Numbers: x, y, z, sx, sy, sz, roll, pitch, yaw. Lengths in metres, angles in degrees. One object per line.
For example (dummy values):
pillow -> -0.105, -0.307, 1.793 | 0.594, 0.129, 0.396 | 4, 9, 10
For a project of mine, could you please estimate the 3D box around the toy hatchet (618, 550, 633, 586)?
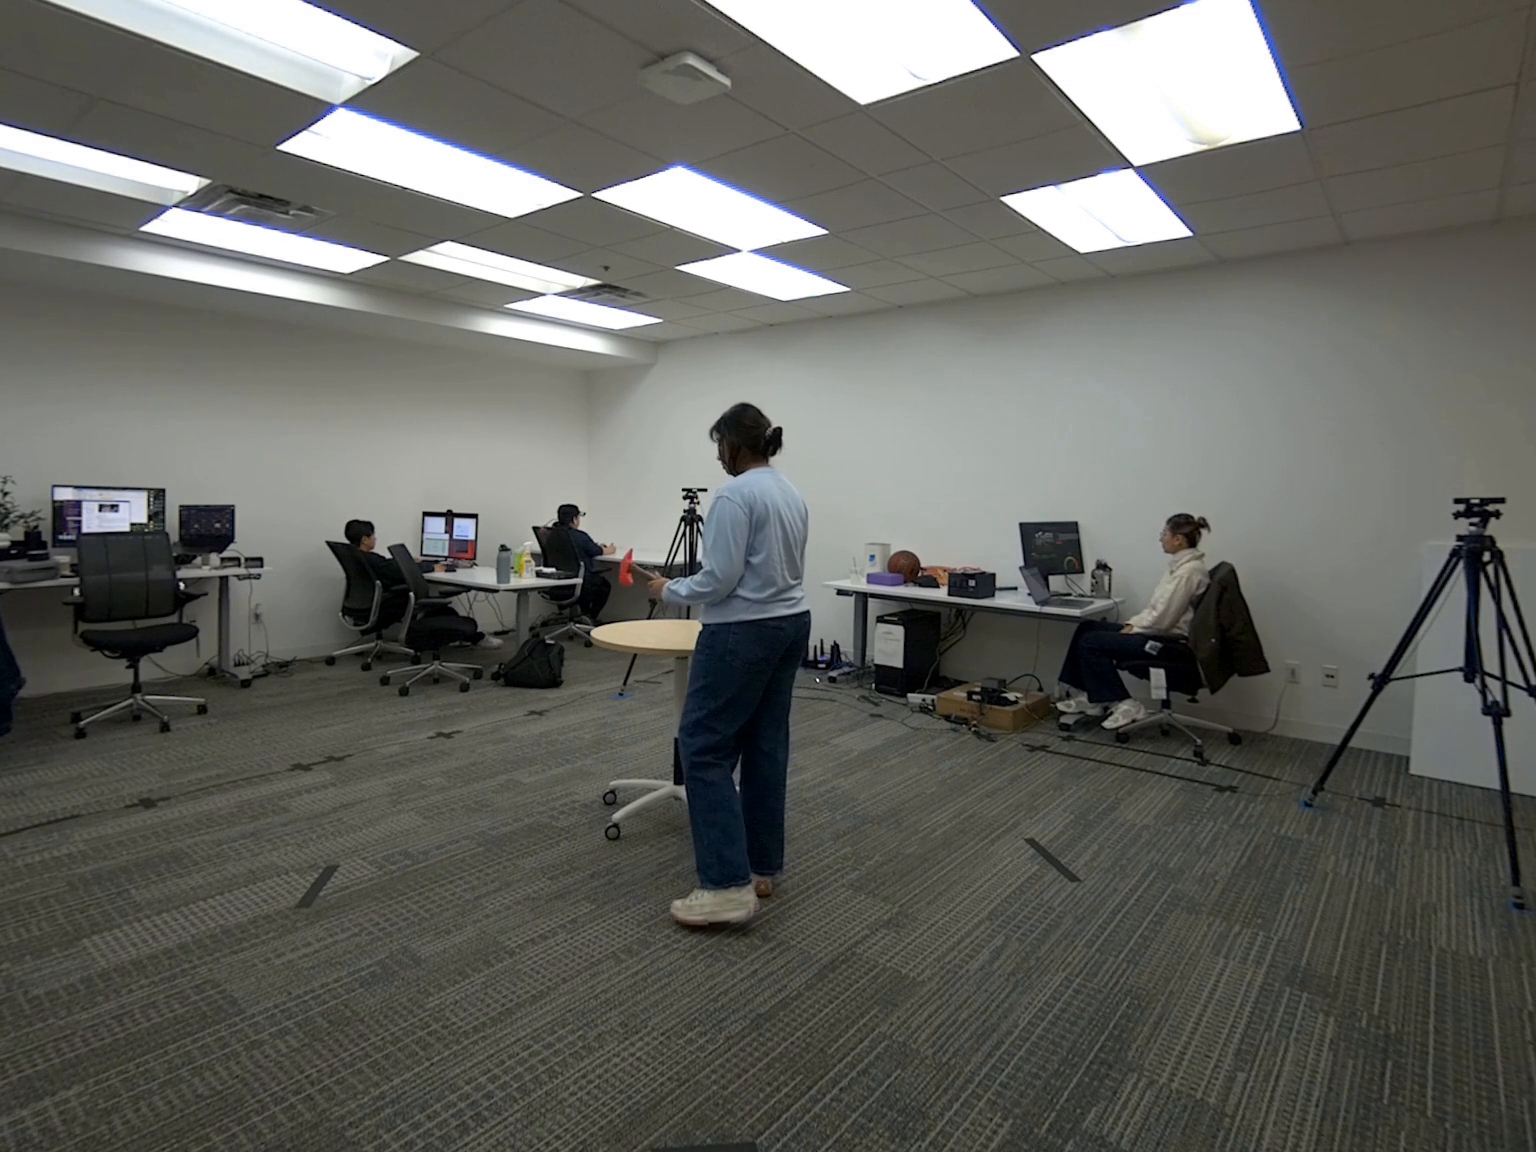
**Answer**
toy hatchet -> -0.463, 0.022, 3.085 | 0.280, 0.131, 0.028 | 42, 16, 29
